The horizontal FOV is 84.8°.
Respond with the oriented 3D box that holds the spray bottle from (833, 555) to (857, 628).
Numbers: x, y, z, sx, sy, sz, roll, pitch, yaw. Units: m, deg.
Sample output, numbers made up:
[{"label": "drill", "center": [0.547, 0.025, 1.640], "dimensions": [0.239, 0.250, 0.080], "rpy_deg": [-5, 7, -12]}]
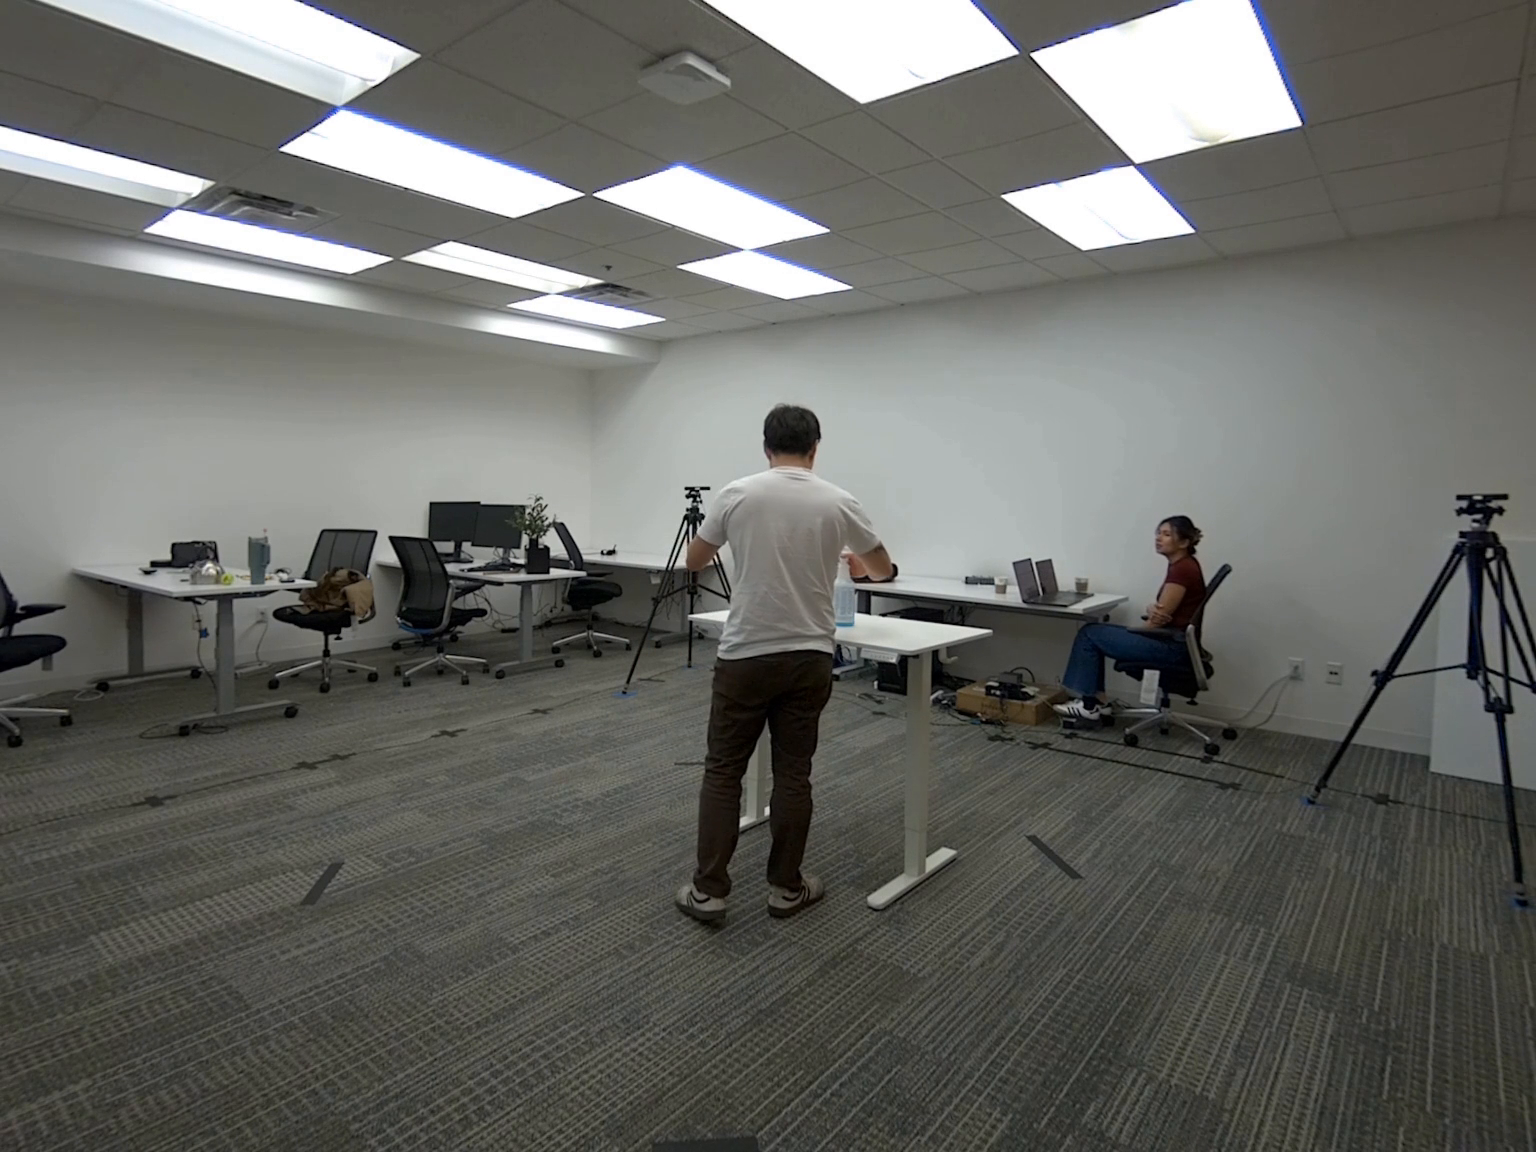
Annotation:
[{"label": "spray bottle", "center": [0.274, 0.038, 3.200], "dimensions": [0.092, 0.297, 0.085], "rpy_deg": [-1, 1, 22]}]
